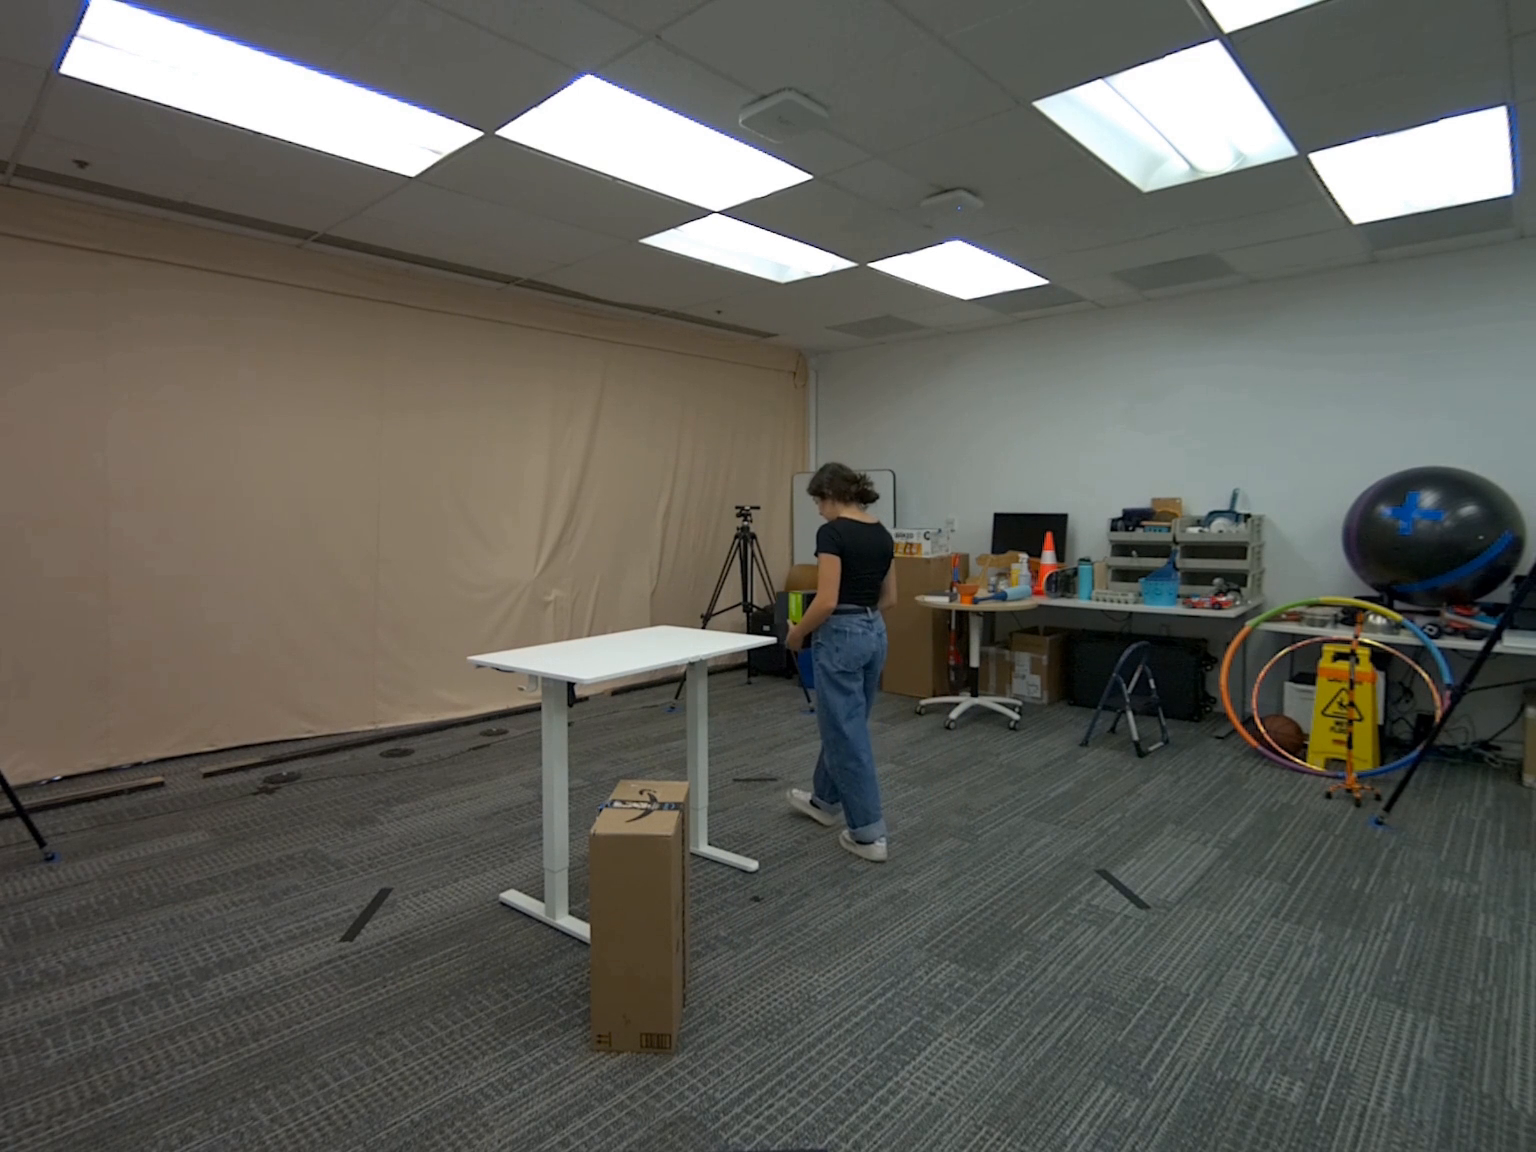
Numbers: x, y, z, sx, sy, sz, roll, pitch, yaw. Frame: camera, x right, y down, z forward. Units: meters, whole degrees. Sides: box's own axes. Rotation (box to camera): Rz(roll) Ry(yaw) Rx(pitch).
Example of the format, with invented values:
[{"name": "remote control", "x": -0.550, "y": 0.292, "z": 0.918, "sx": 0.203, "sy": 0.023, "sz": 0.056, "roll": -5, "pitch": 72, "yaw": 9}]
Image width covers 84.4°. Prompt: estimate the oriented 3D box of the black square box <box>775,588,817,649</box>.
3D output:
[{"name": "black square box", "x": 0.158, "y": 0.174, "z": 3.602, "sx": 0.161, "sy": 0.228, "sz": 0.210, "roll": 2, "pitch": 2, "yaw": 40}]
